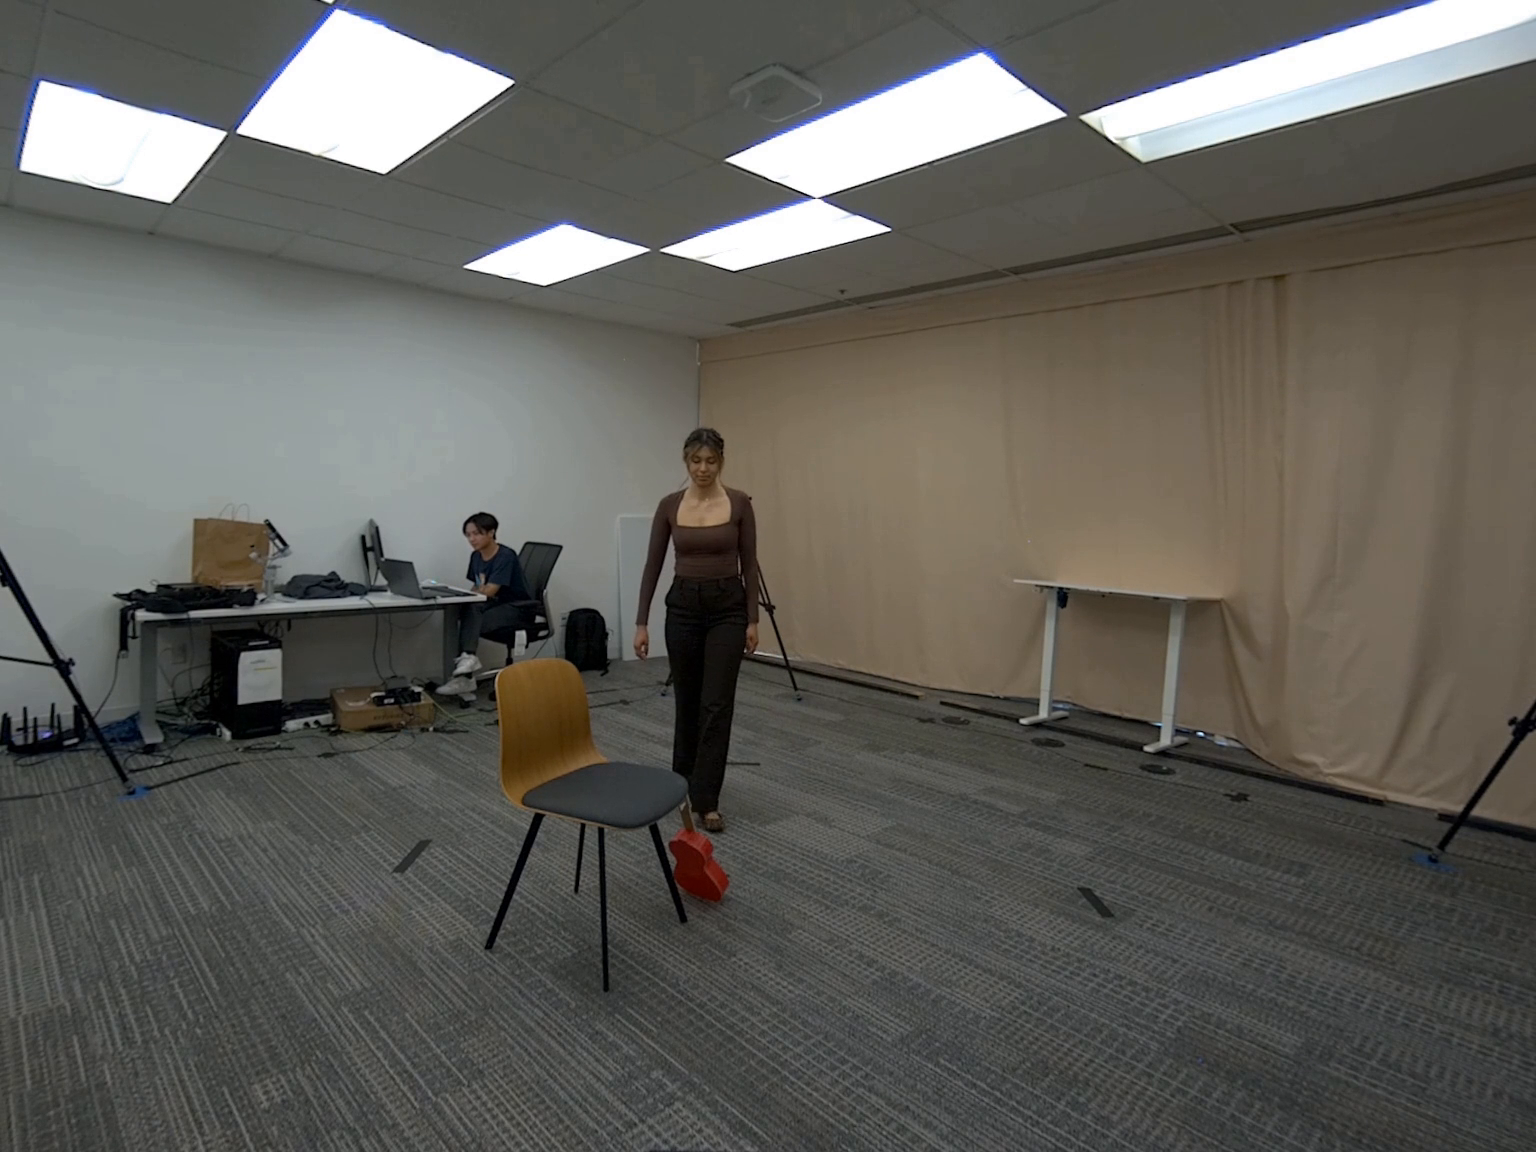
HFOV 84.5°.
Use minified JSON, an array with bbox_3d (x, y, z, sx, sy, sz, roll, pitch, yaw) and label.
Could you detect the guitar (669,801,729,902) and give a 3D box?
[{"bbox_3d":[-0.294,0.897,2.867,0.197,0.488,0.070,-3,26,35],"label":"guitar"}]
